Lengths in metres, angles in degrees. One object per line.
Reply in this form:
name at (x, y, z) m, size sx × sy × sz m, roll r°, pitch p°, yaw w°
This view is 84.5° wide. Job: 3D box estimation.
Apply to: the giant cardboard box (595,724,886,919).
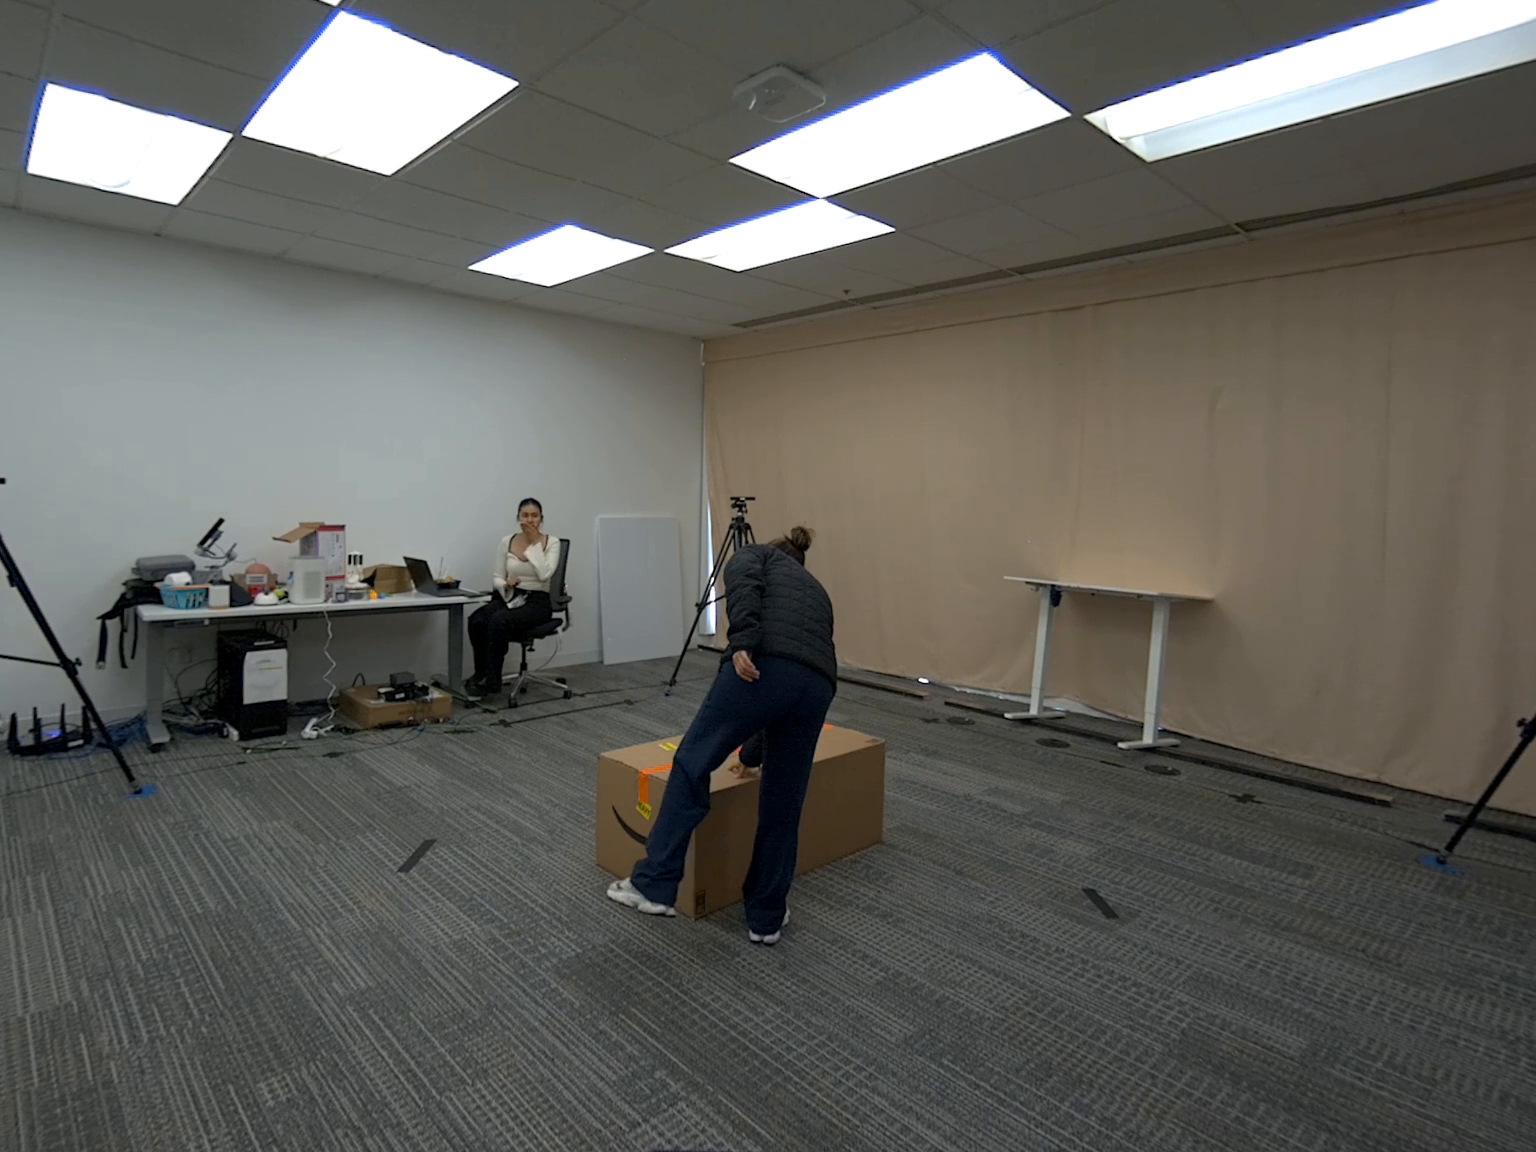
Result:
giant cardboard box at (-0.090, 0.883, 3.297) m, size 1.003 × 0.445 × 0.599 m, roll -2°, pitch 7°, yaw -44°
